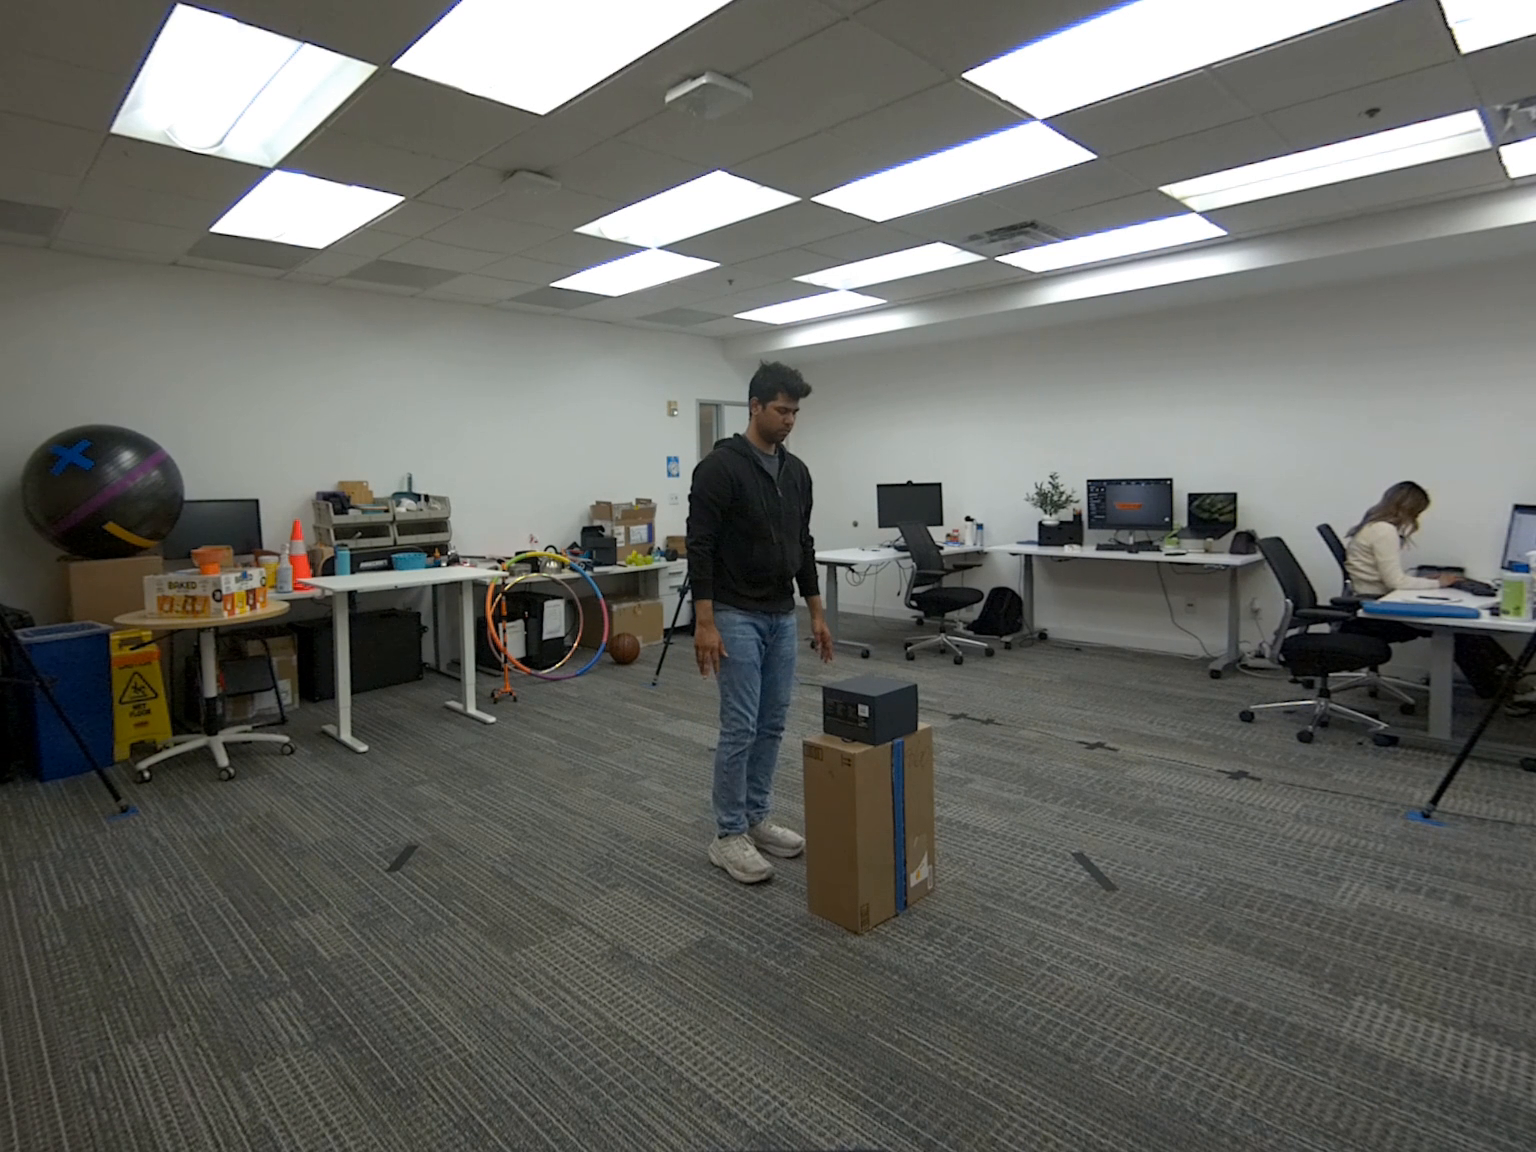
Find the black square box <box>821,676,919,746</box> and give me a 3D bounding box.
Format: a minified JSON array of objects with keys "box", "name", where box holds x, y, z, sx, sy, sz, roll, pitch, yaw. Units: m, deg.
[{"box":[0.336,0.428,2.775,0.222,0.155,0.223,-7,7,-44],"name":"black square box"}]
